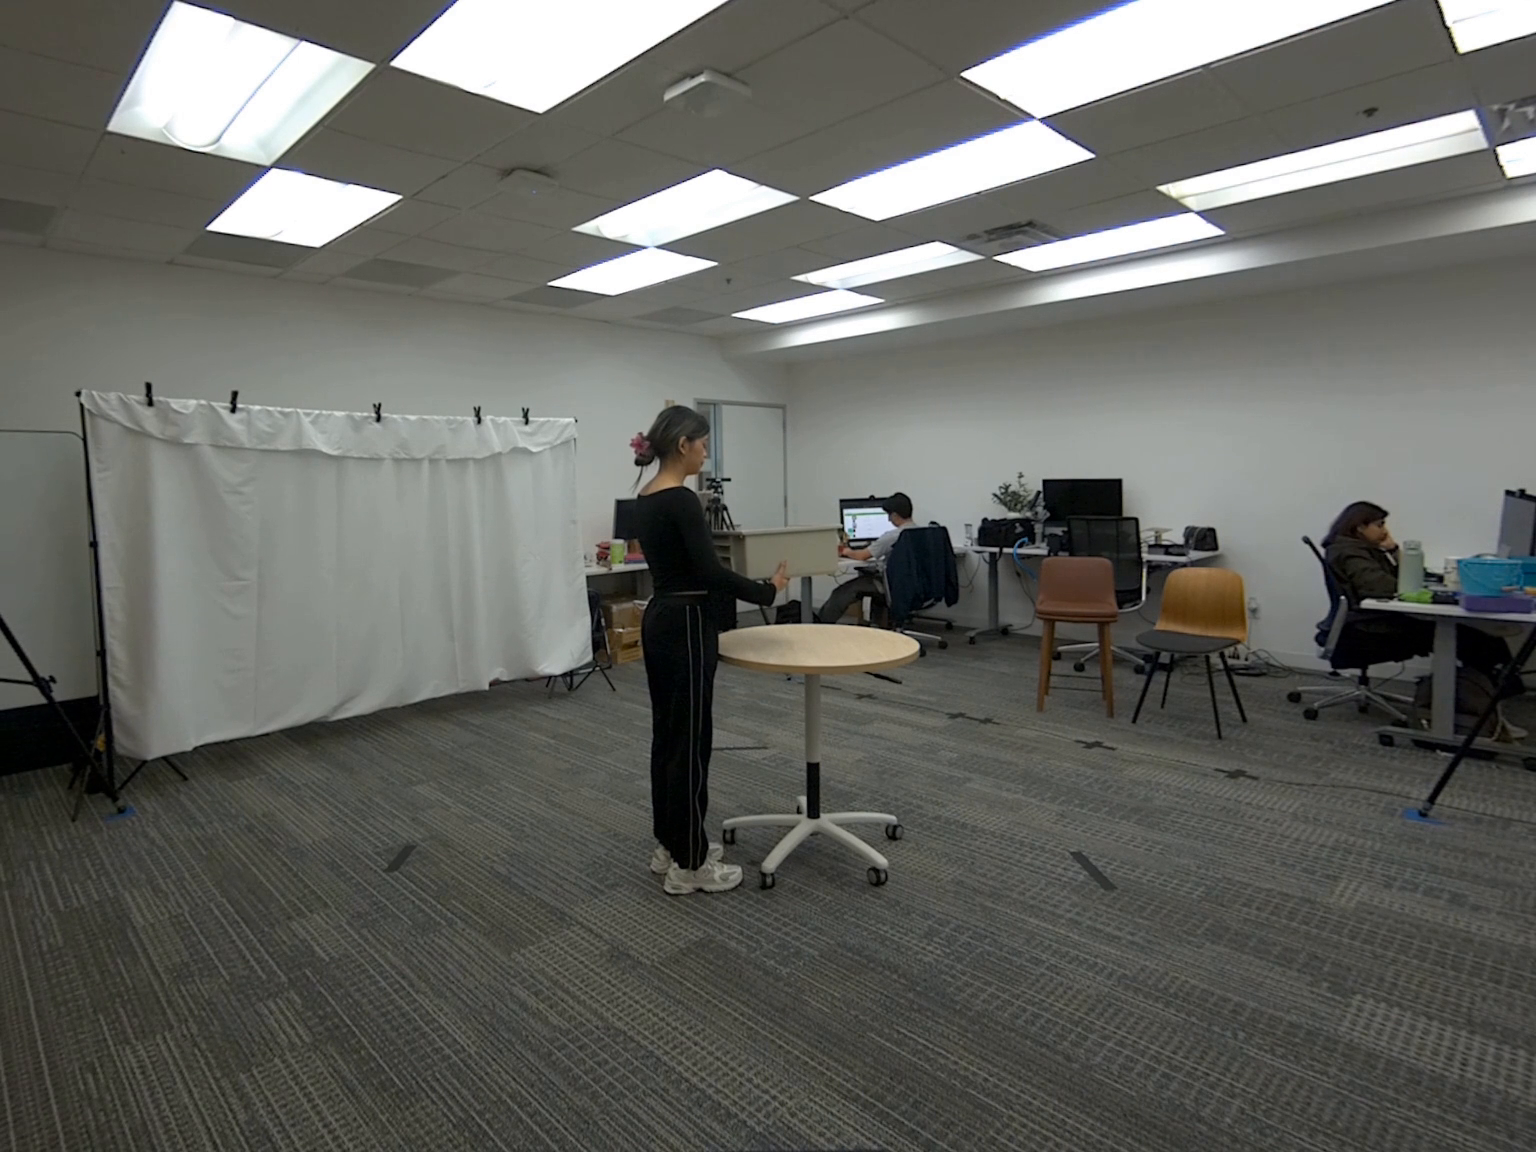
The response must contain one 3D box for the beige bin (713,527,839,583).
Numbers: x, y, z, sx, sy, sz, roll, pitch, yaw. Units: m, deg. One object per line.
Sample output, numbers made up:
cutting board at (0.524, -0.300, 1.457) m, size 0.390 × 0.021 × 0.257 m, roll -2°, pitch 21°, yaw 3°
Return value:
beige bin at (-0.003, -0.086, 3.111) m, size 0.412 × 0.188 × 0.388 m, roll -4°, pitch 6°, yaw -30°
